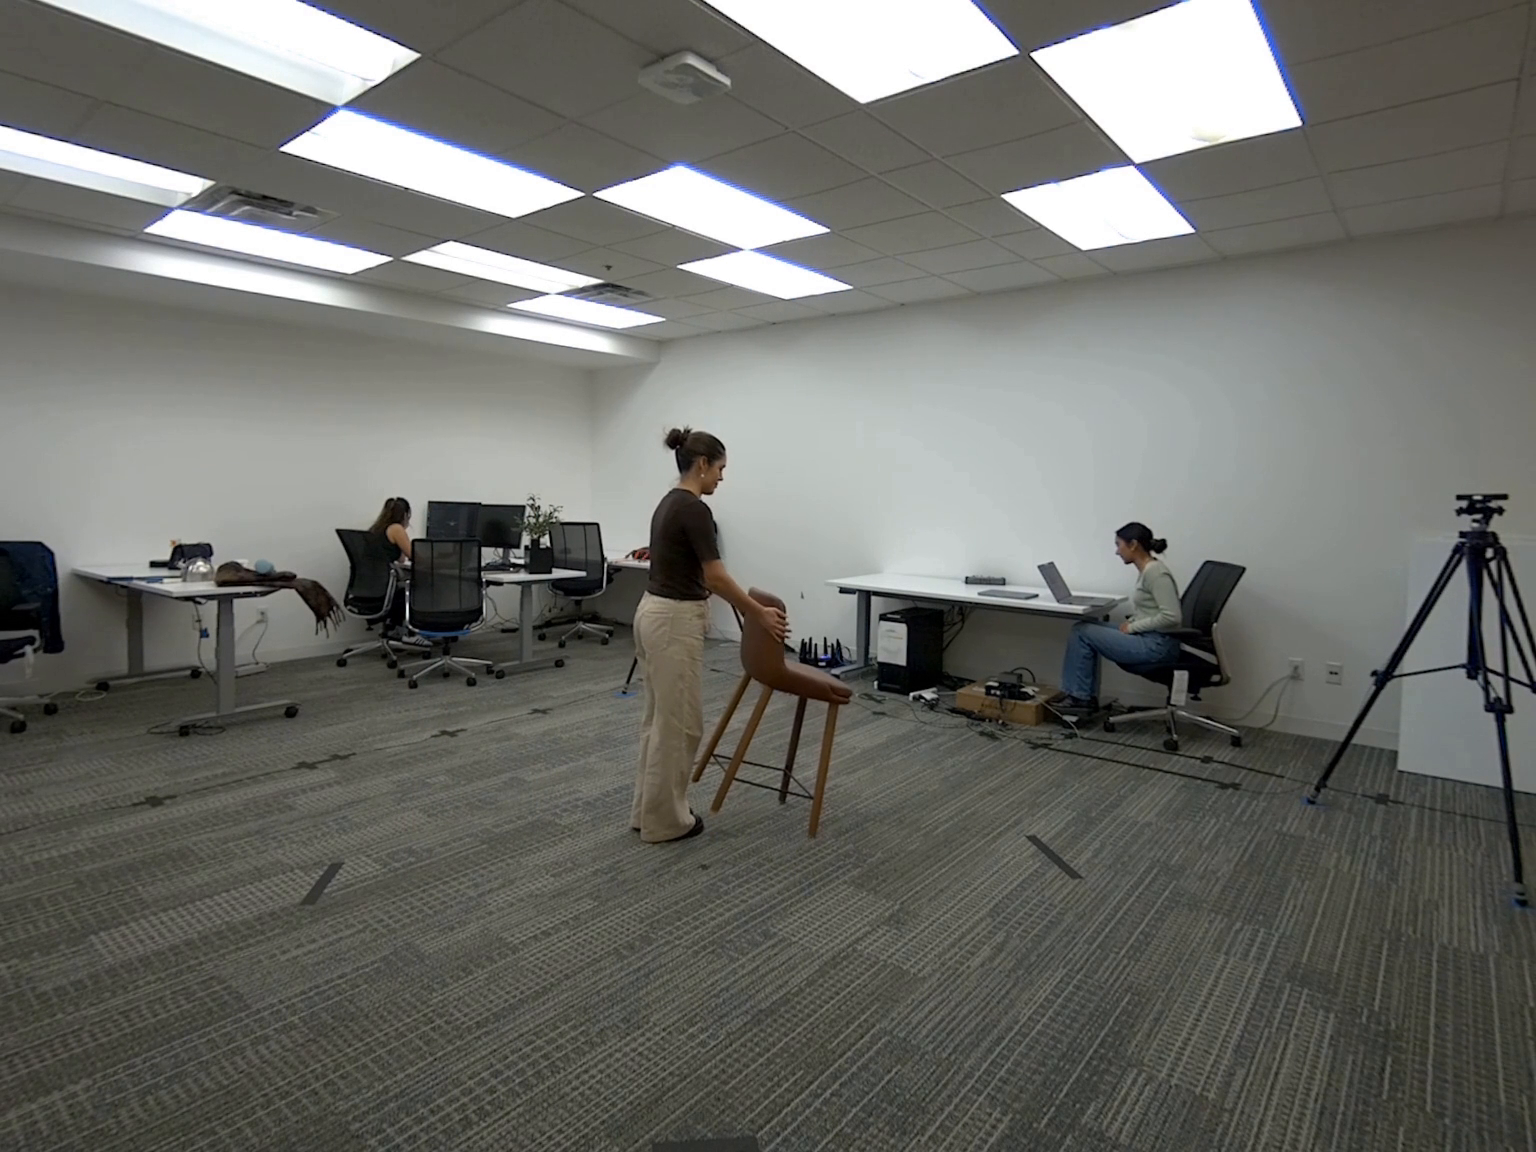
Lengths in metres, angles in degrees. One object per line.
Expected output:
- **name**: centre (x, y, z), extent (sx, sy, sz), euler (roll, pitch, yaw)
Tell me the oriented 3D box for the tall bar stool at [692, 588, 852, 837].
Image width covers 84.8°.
- **tall bar stool**: centre (0.041, 0.545, 3.548), extent (0.458, 0.890, 0.466), euler (15, 0, -18)
